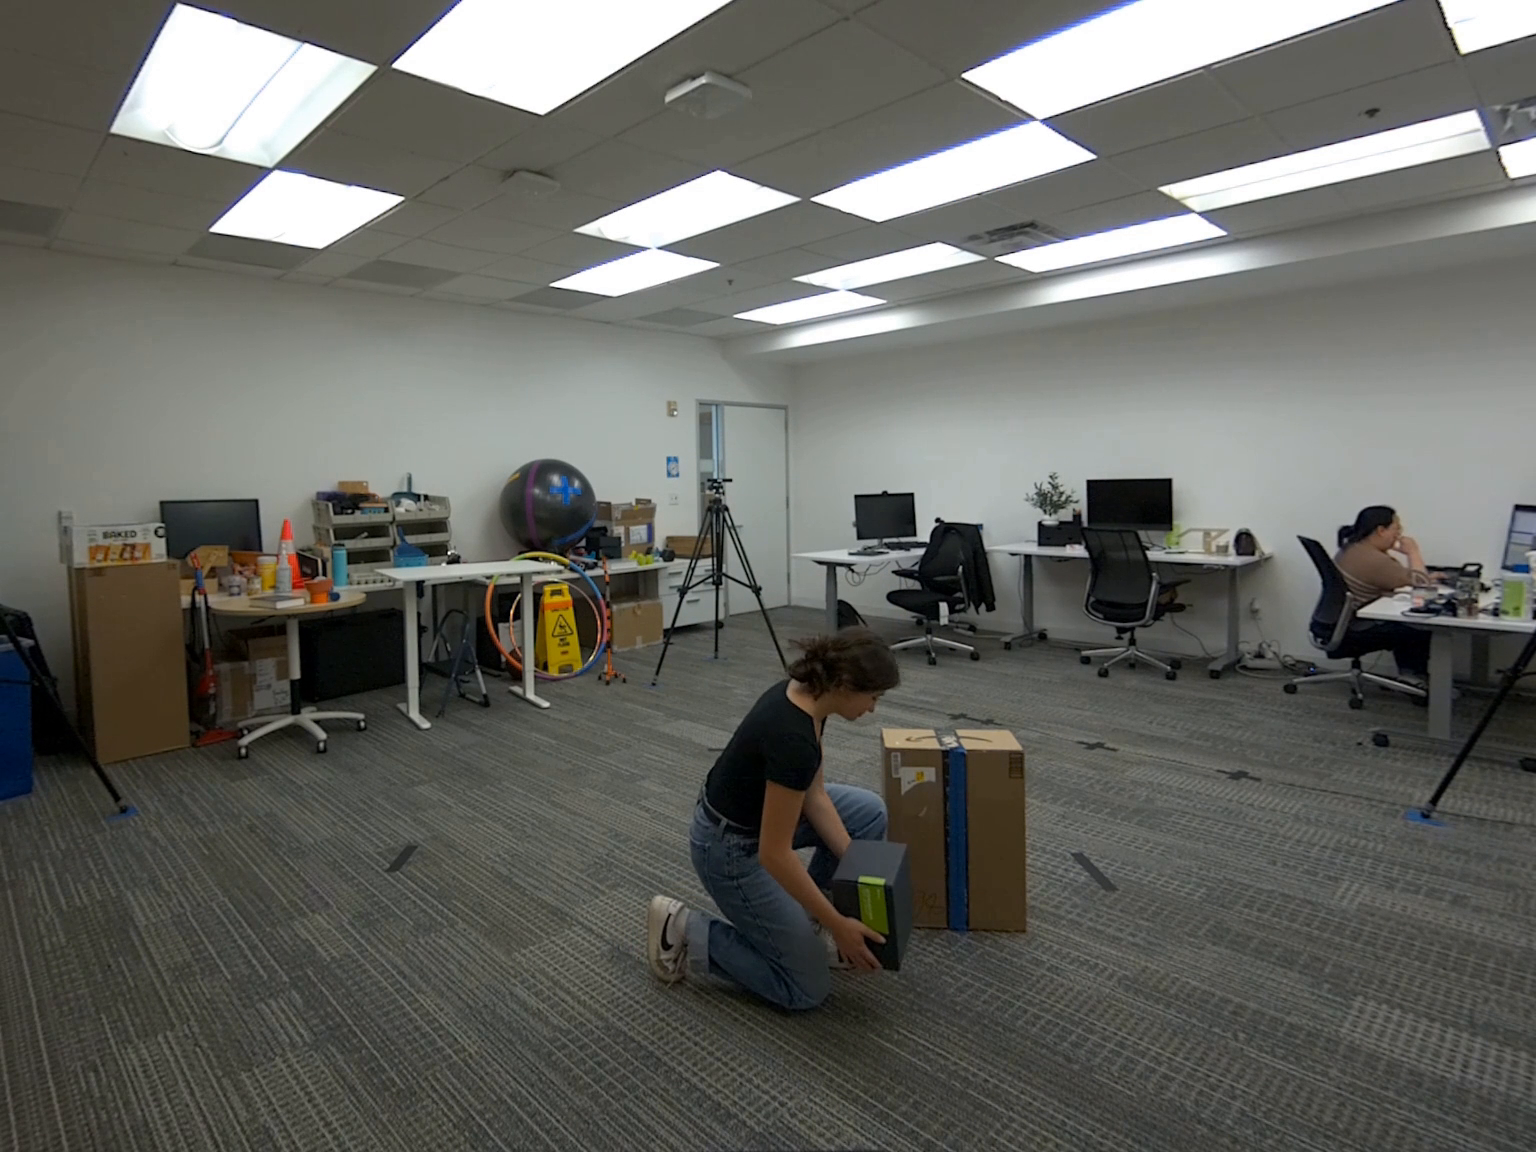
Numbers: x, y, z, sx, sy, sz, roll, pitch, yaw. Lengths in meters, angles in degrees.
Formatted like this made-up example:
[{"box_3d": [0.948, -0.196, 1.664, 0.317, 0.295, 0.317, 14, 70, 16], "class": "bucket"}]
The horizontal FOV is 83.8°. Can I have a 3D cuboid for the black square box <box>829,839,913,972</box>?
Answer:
[{"box_3d": [0.265, 0.844, 2.218, 0.158, 0.226, 0.215, -3, 8, 17], "class": "black square box"}]
